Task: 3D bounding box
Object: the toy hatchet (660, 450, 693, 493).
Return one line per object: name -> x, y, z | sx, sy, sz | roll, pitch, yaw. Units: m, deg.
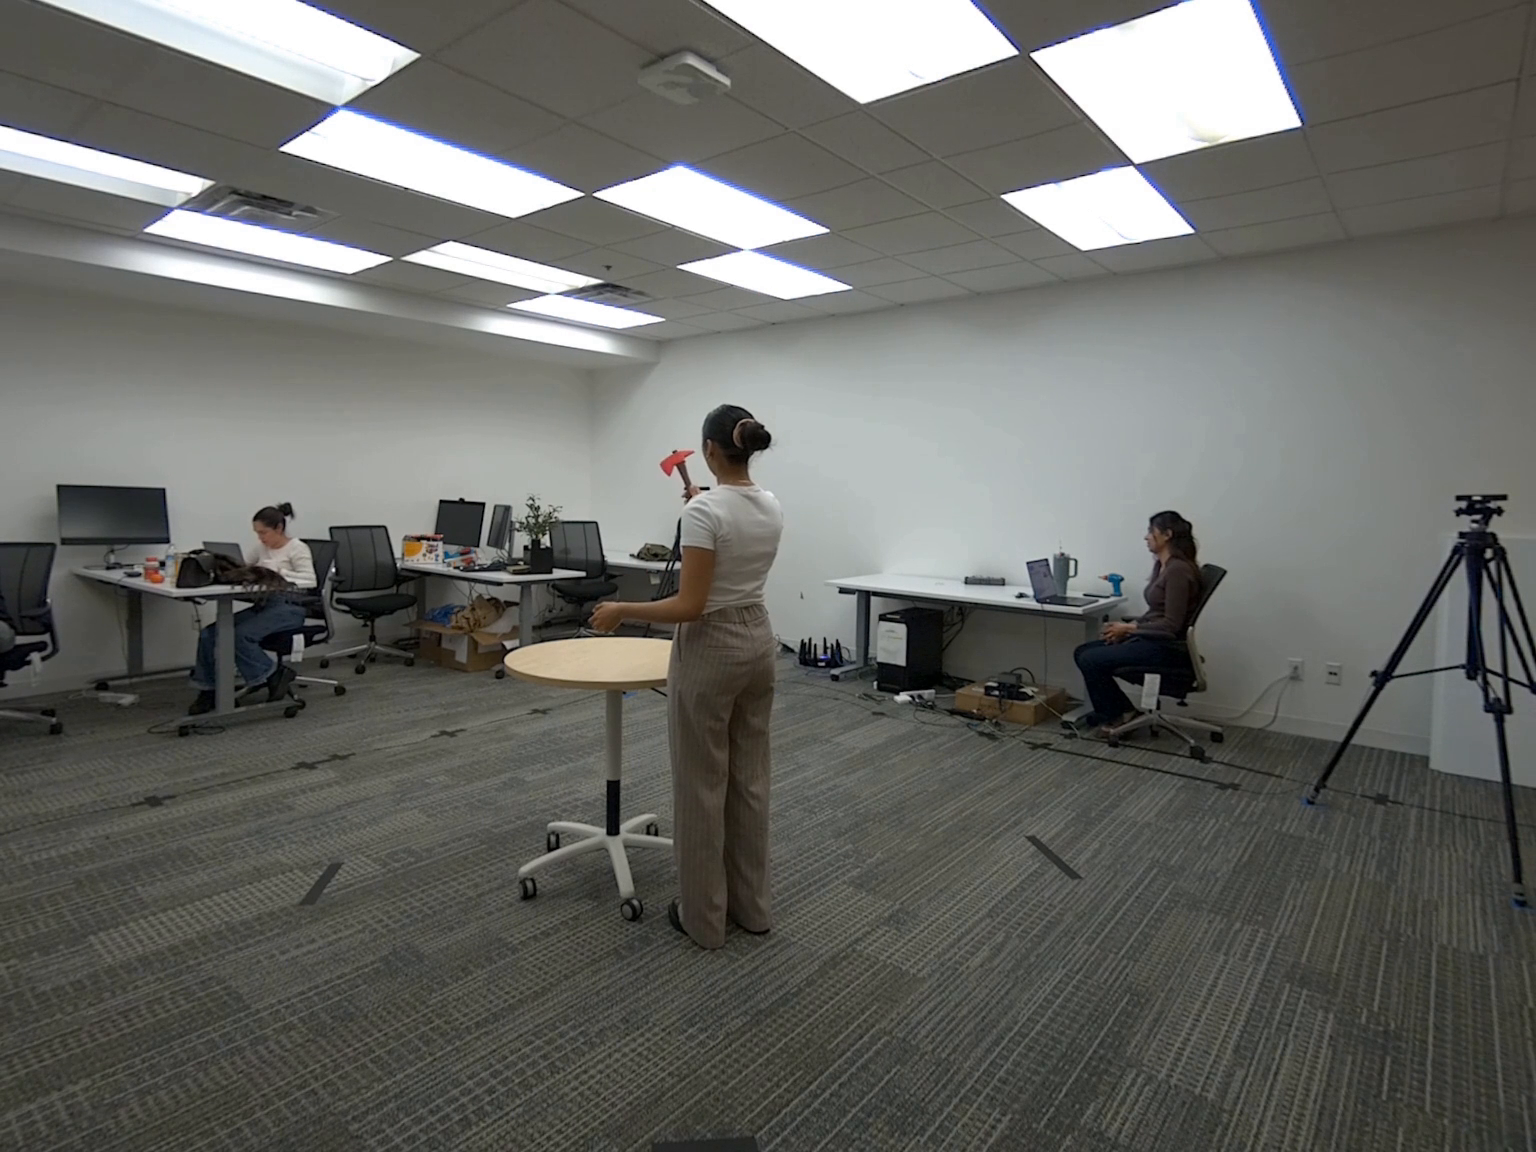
toy hatchet -> -0.331, -0.327, 3.056 | 0.132, 0.273, 0.029 | -5, -12, 8
